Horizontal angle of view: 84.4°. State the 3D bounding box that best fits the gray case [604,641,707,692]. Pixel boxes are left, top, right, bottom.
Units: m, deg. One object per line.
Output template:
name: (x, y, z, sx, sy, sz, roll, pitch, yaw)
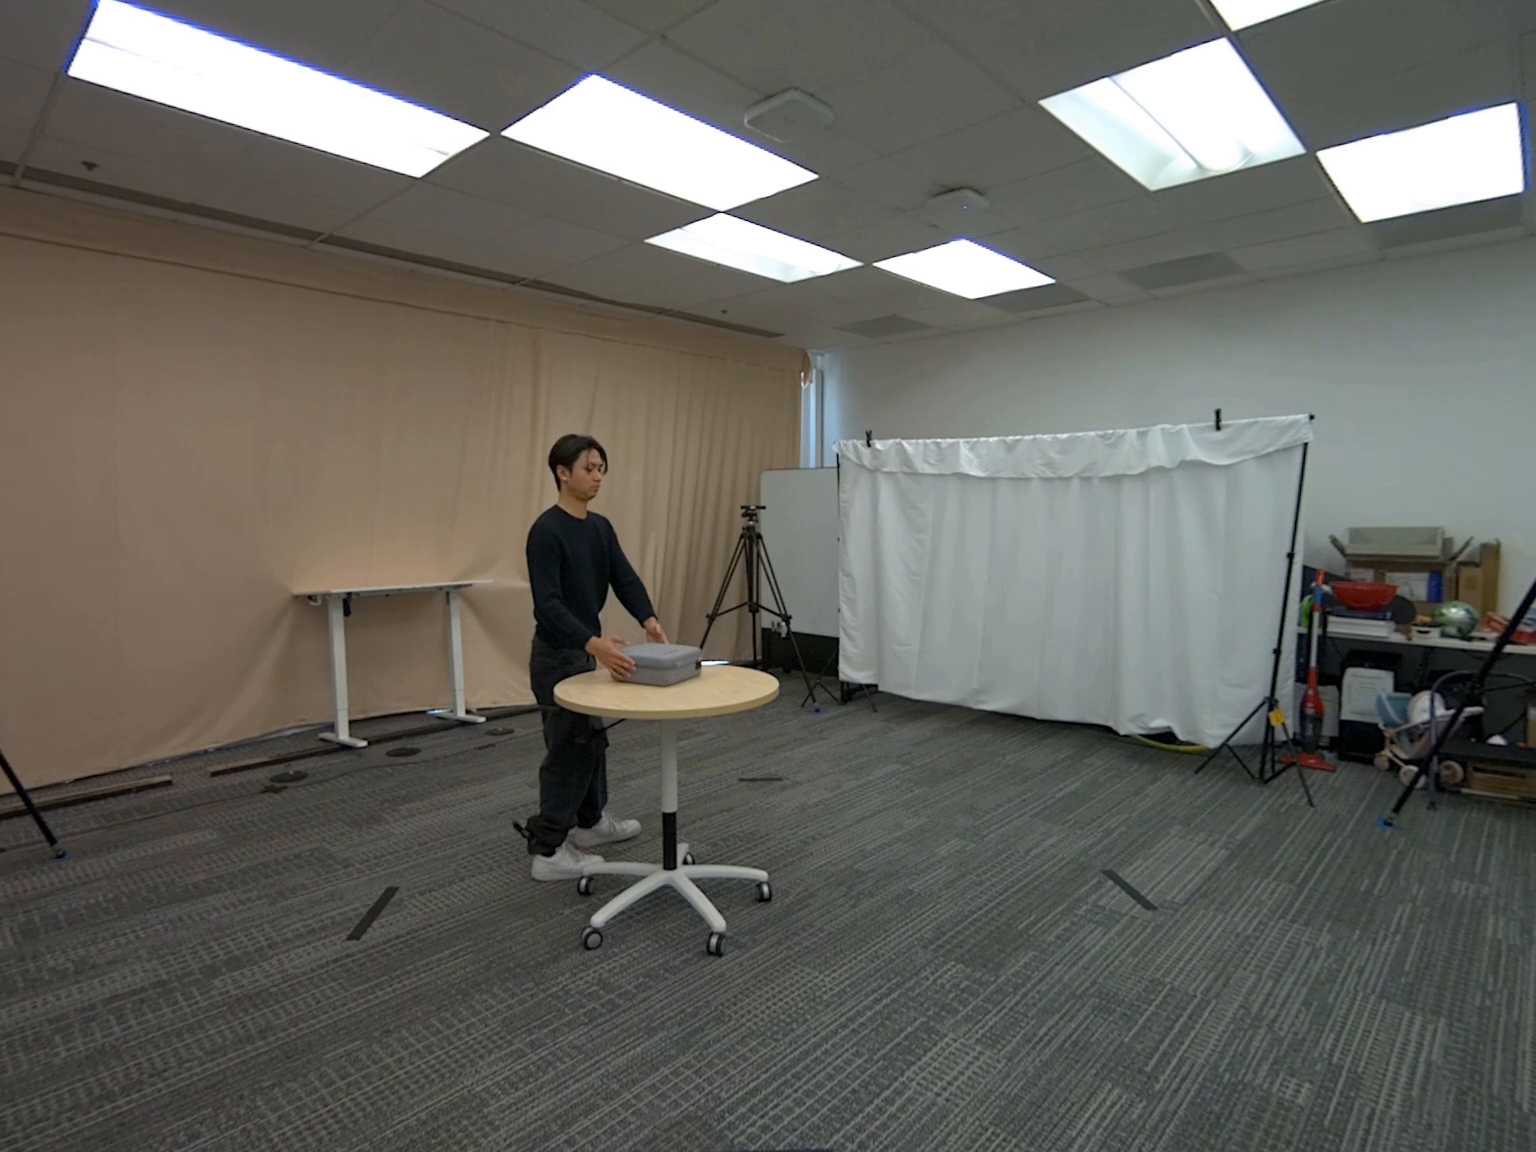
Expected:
gray case: (-0.394, 0.312, 2.970, 0.267, 0.104, 0.251, 2, 7, 25)
